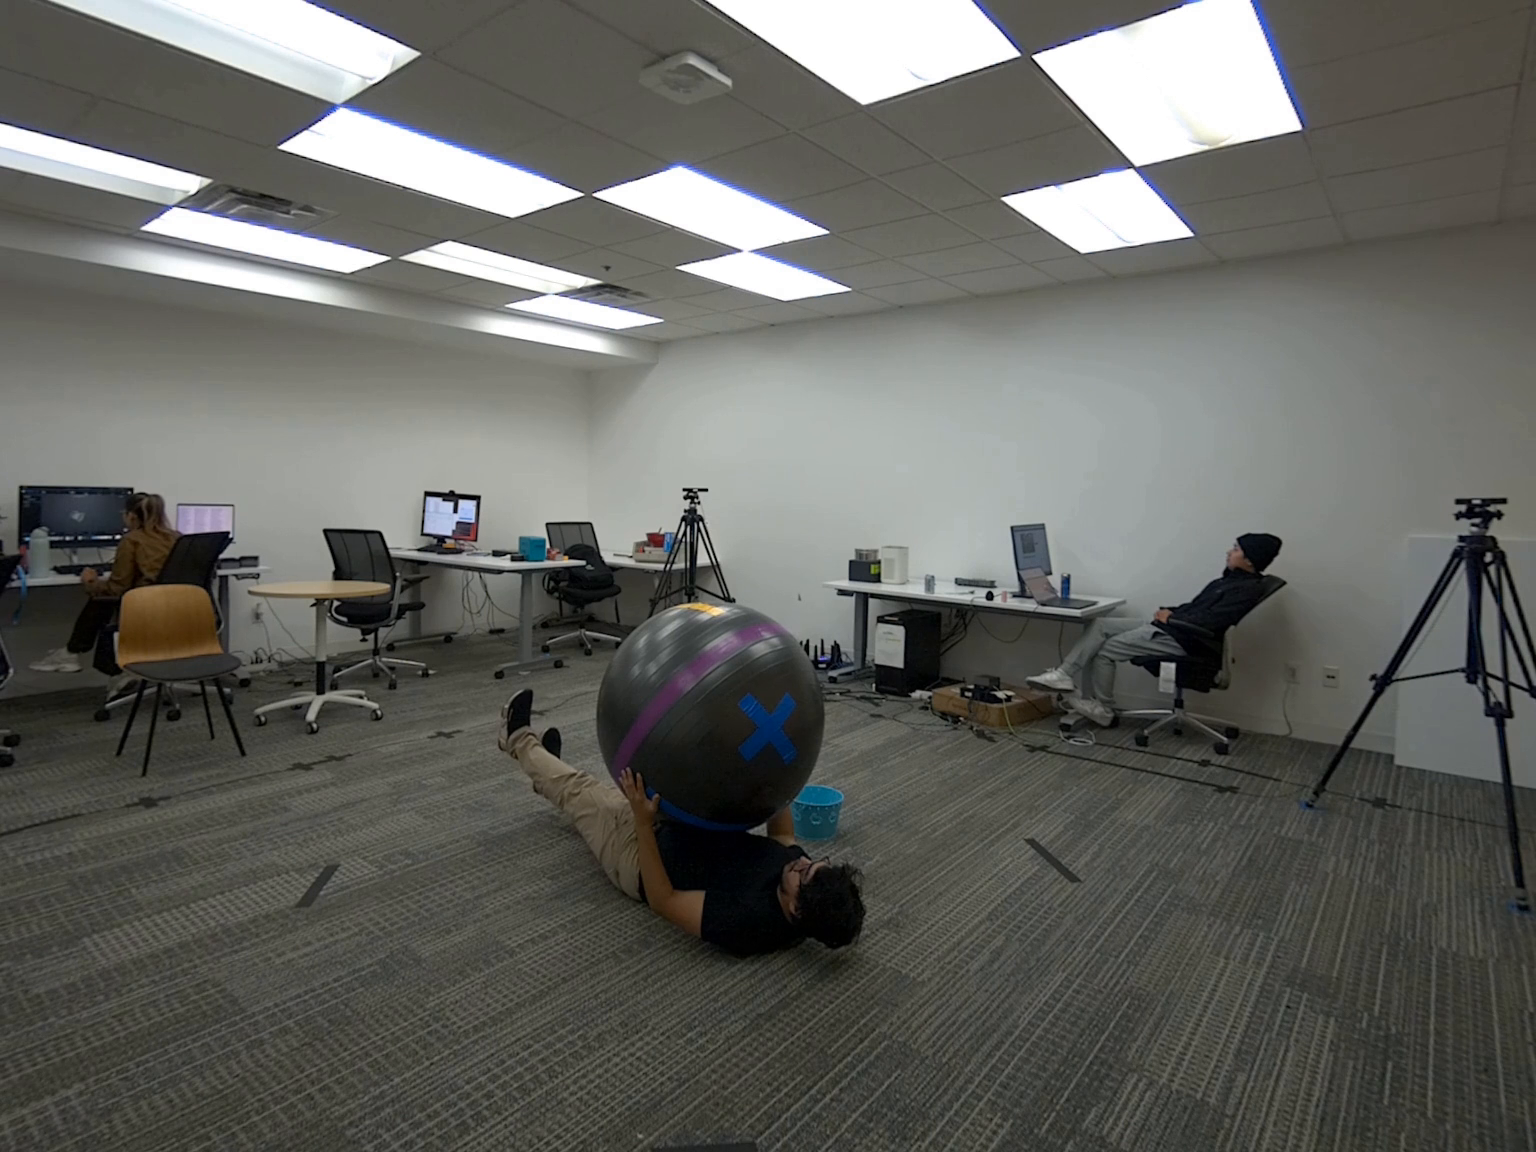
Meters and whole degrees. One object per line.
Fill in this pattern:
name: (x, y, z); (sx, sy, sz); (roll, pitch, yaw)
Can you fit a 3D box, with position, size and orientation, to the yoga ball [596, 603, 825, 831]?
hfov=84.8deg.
yoga ball: (-0.200, 0.462, 2.830); (0.757, 0.756, 0.761); (0, 4, -2)
